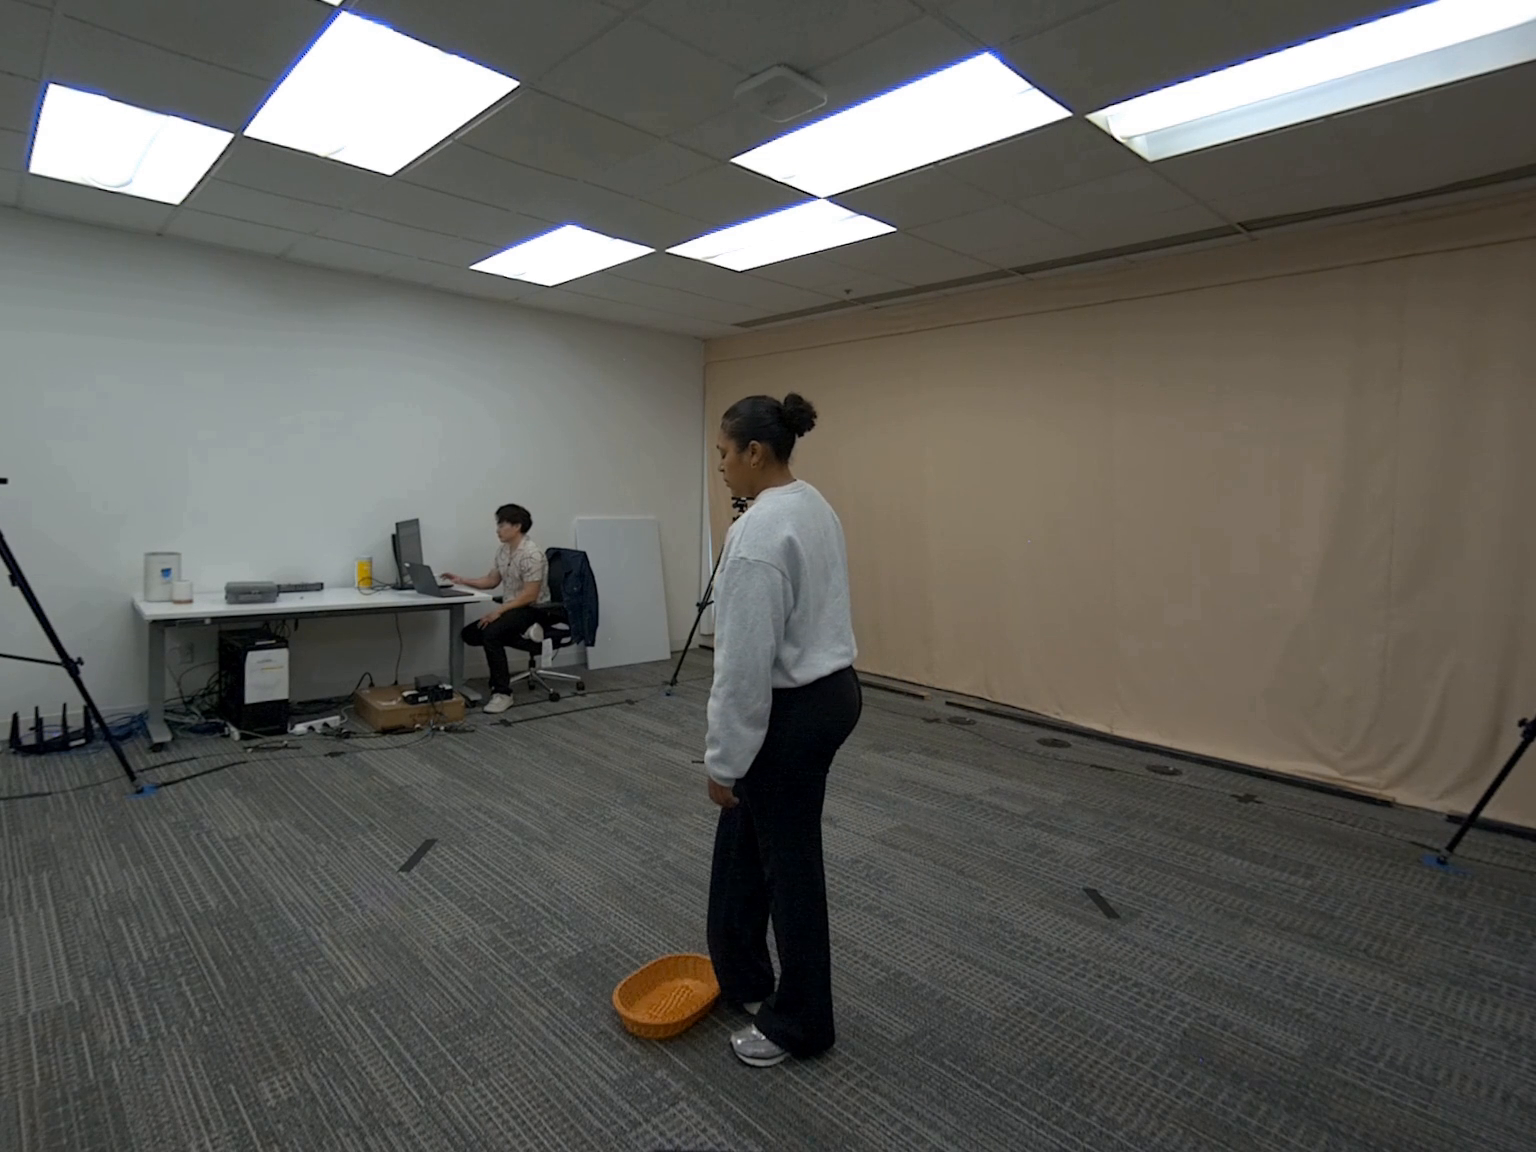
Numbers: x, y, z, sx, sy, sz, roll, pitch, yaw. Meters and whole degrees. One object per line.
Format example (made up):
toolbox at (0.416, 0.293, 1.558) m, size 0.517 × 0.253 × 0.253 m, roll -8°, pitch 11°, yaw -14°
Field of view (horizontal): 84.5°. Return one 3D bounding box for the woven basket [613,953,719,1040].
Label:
woven basket at (-0.259, 1.136, 2.290) m, size 0.258 × 0.073 × 0.343 m, roll 4°, pitch 6°, yaw 33°
